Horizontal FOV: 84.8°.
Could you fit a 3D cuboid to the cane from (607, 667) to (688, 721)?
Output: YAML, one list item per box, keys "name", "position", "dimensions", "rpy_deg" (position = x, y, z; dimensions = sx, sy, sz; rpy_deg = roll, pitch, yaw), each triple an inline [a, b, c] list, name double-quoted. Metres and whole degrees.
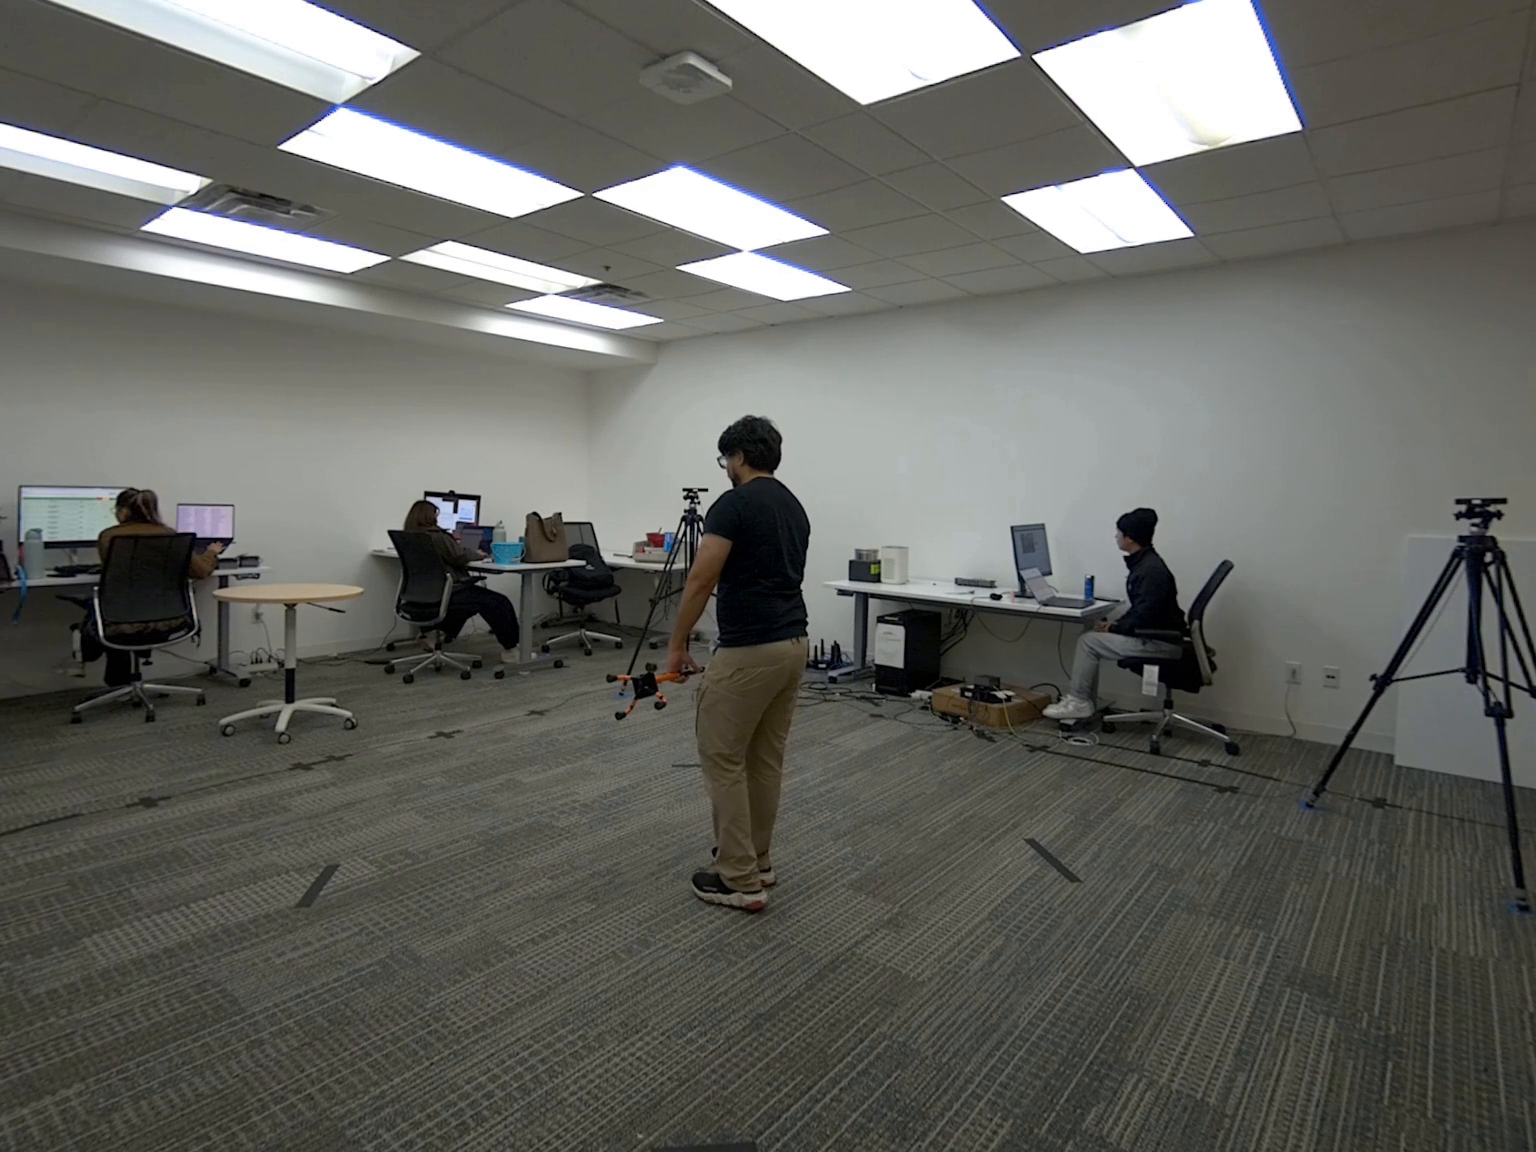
- name: "cane"
  position: [-0.201, 0.347, 3.075]
  dimensions: [0.210, 0.153, 0.882]
  rpy_deg: [-20, -8, 34]
